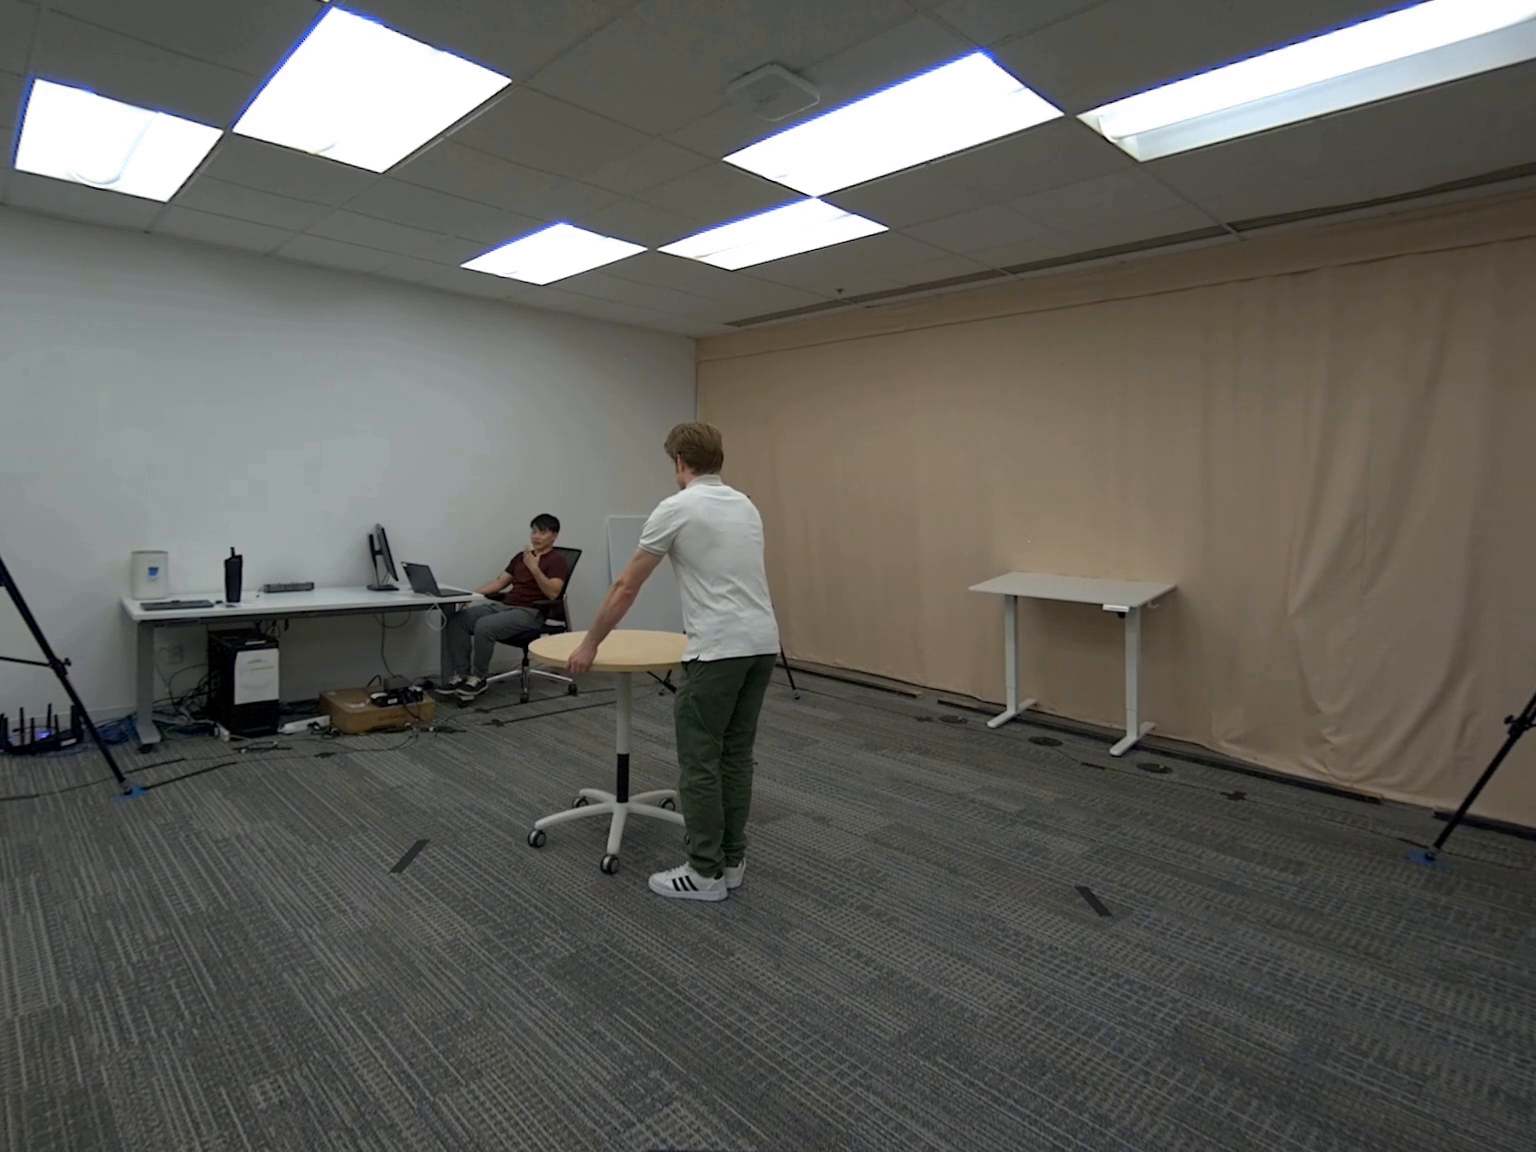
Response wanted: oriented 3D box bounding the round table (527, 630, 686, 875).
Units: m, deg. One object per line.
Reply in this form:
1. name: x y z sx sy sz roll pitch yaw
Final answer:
1. round table: -0.593 0.675 3.432 0.763 0.792 0.766 1 4 -1
